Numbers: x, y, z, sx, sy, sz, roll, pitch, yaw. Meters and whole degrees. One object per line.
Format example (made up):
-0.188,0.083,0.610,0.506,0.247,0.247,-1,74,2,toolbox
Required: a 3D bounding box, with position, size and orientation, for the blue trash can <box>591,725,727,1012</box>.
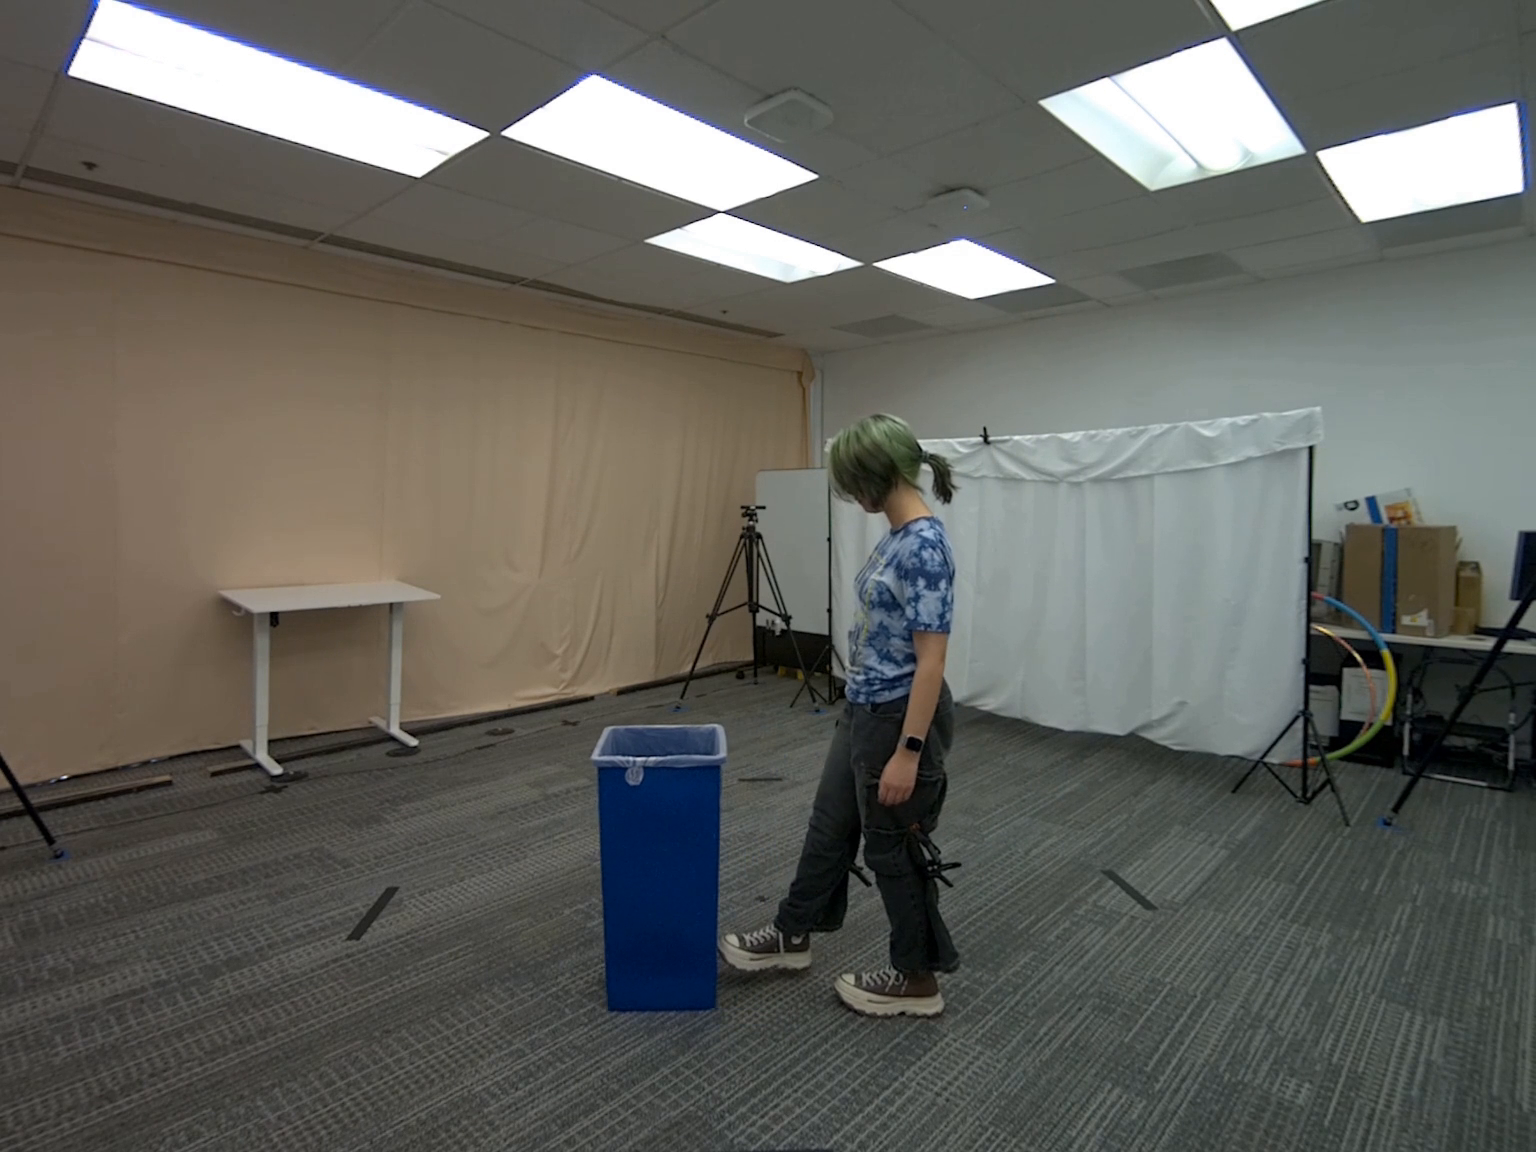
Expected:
-0.307,0.836,2.457,0.377,0.712,0.376,-1,3,-3,blue trash can
